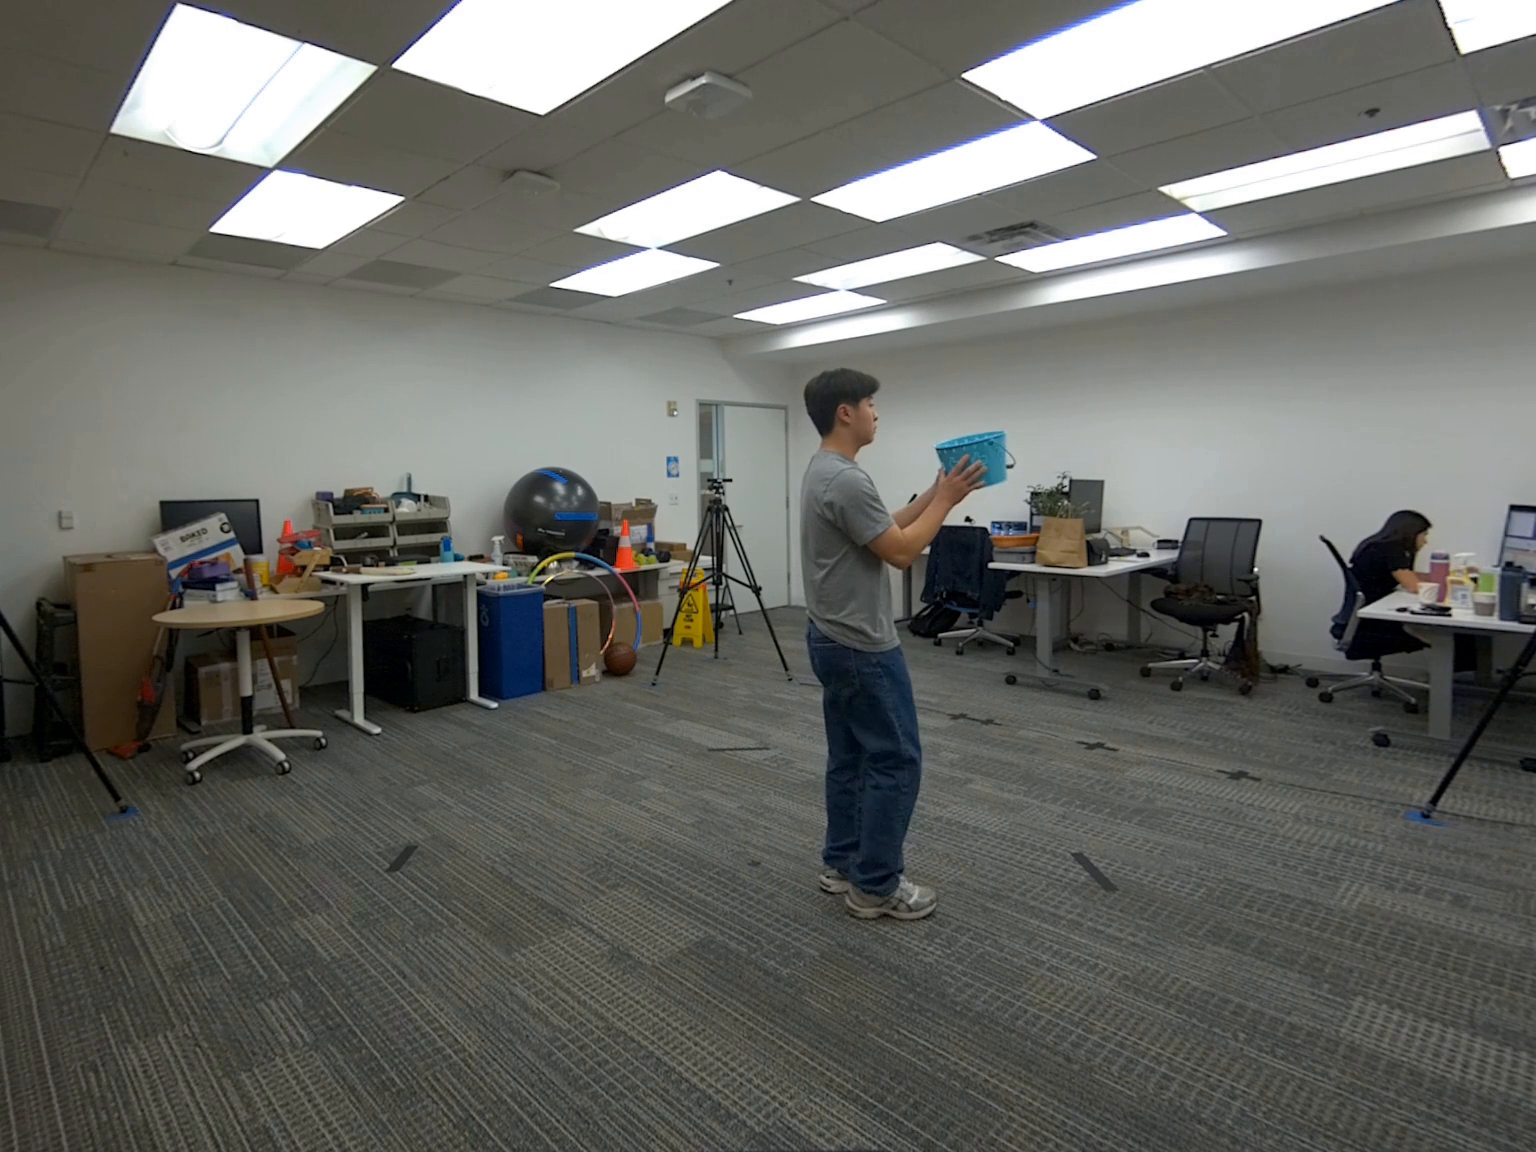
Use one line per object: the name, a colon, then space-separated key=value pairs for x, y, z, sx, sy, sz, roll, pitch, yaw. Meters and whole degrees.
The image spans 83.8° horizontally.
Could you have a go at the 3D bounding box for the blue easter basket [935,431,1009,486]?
blue easter basket: x=0.677 y=-0.368 z=2.758 sx=0.244 sy=0.154 sz=0.246 roll=-13 pitch=12 yaw=1
